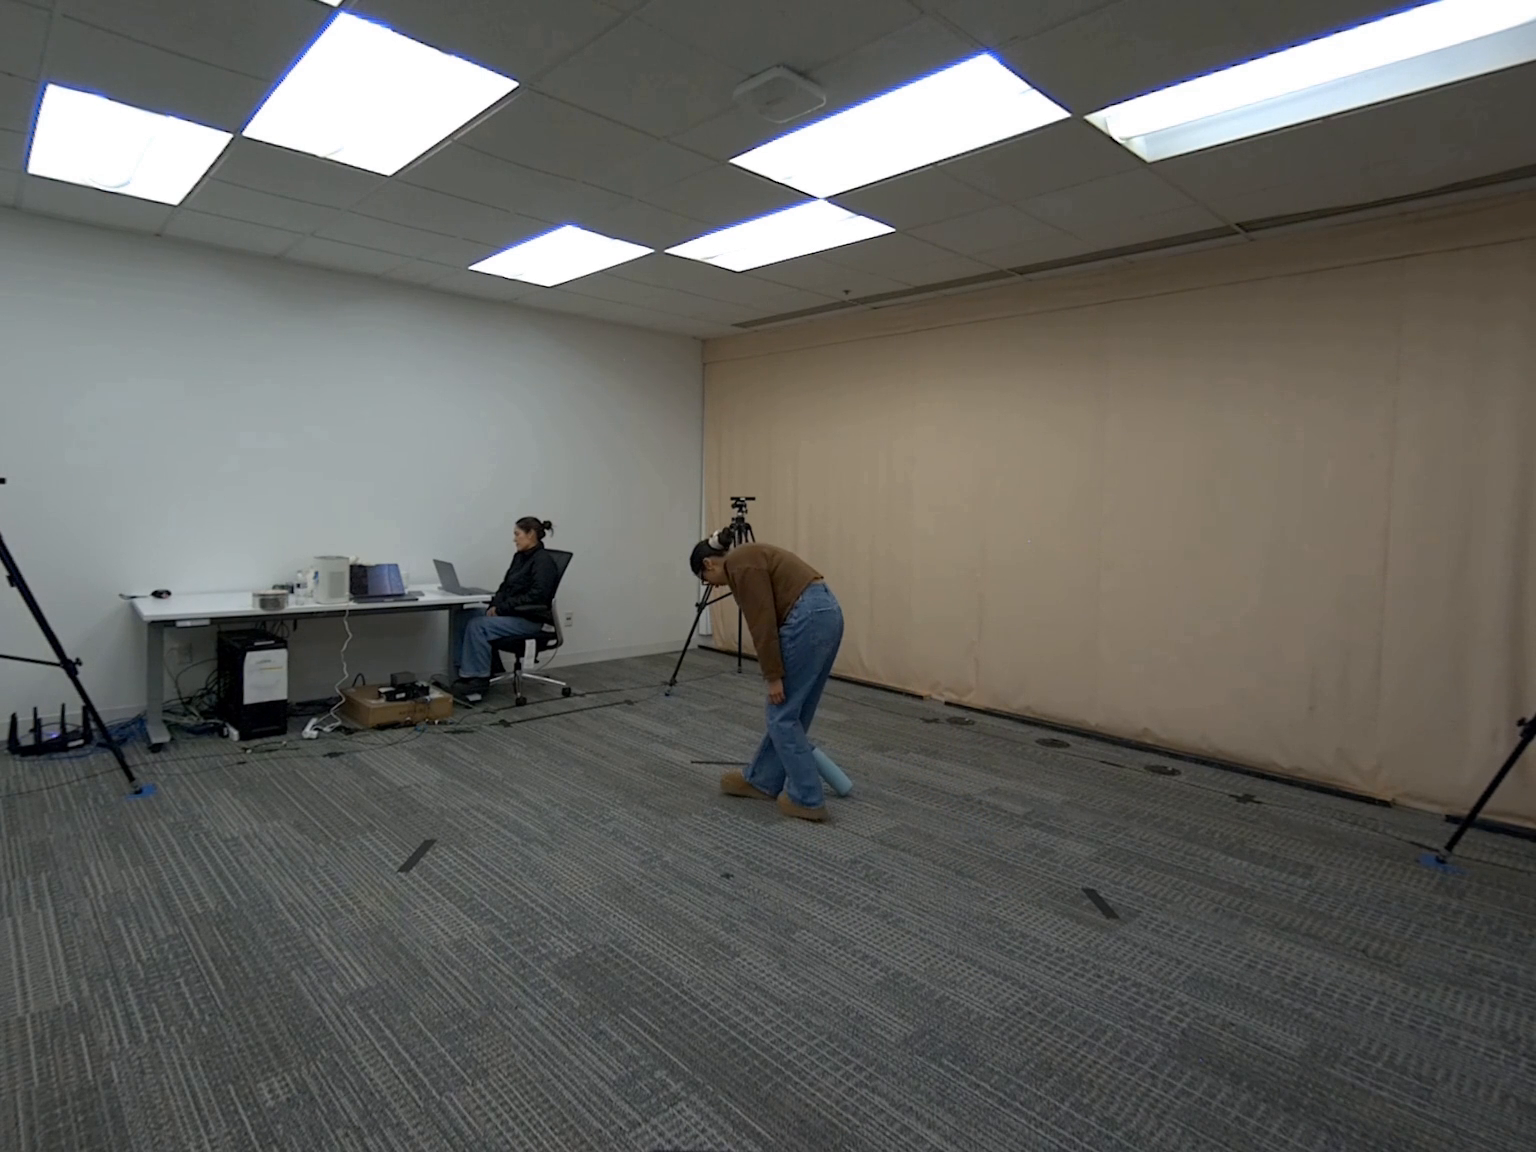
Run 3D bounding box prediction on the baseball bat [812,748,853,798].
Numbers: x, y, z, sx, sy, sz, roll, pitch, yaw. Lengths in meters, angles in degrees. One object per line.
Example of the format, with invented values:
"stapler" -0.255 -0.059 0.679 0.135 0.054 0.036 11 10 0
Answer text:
"baseball bat" 0.185 0.839 4.051 0.552 0.089 0.088 45 17 15
